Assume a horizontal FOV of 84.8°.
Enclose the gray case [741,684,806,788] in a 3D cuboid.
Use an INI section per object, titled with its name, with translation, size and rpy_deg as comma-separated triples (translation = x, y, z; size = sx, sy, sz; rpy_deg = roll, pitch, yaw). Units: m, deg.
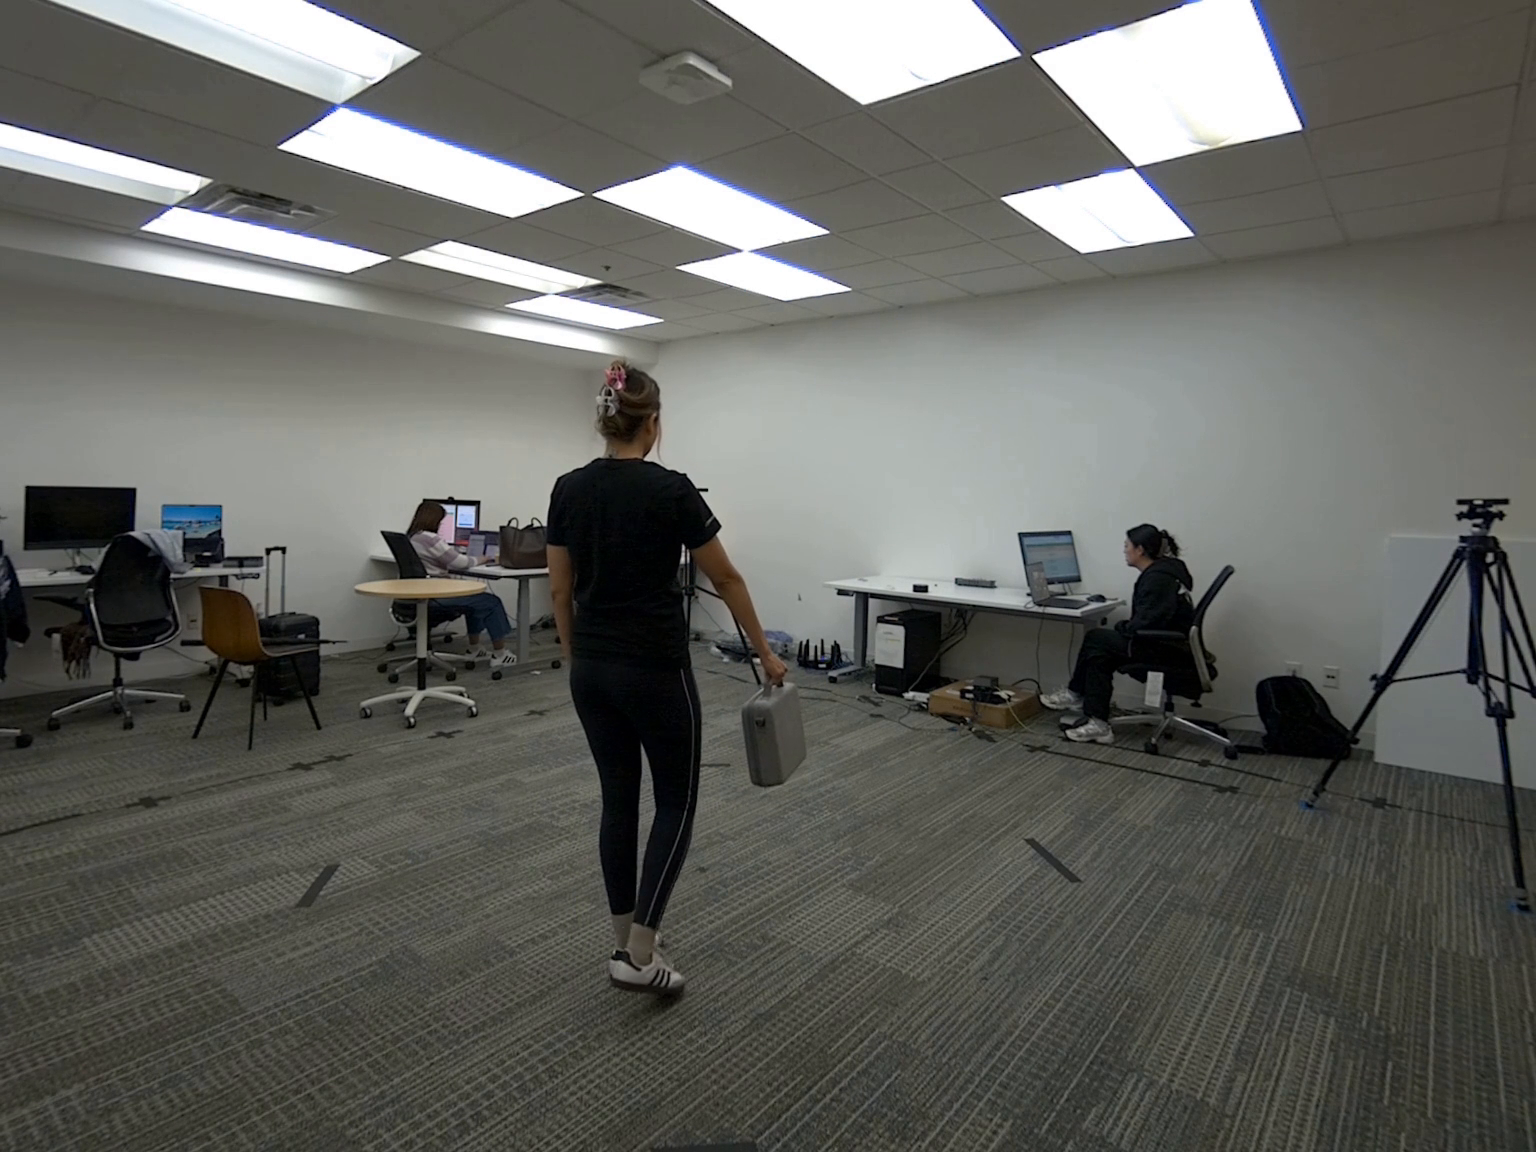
[gray case]
translation = 0.010, 0.463, 2.549
size = 0.106, 0.259, 0.253
rpy_deg = -6, 7, 23
